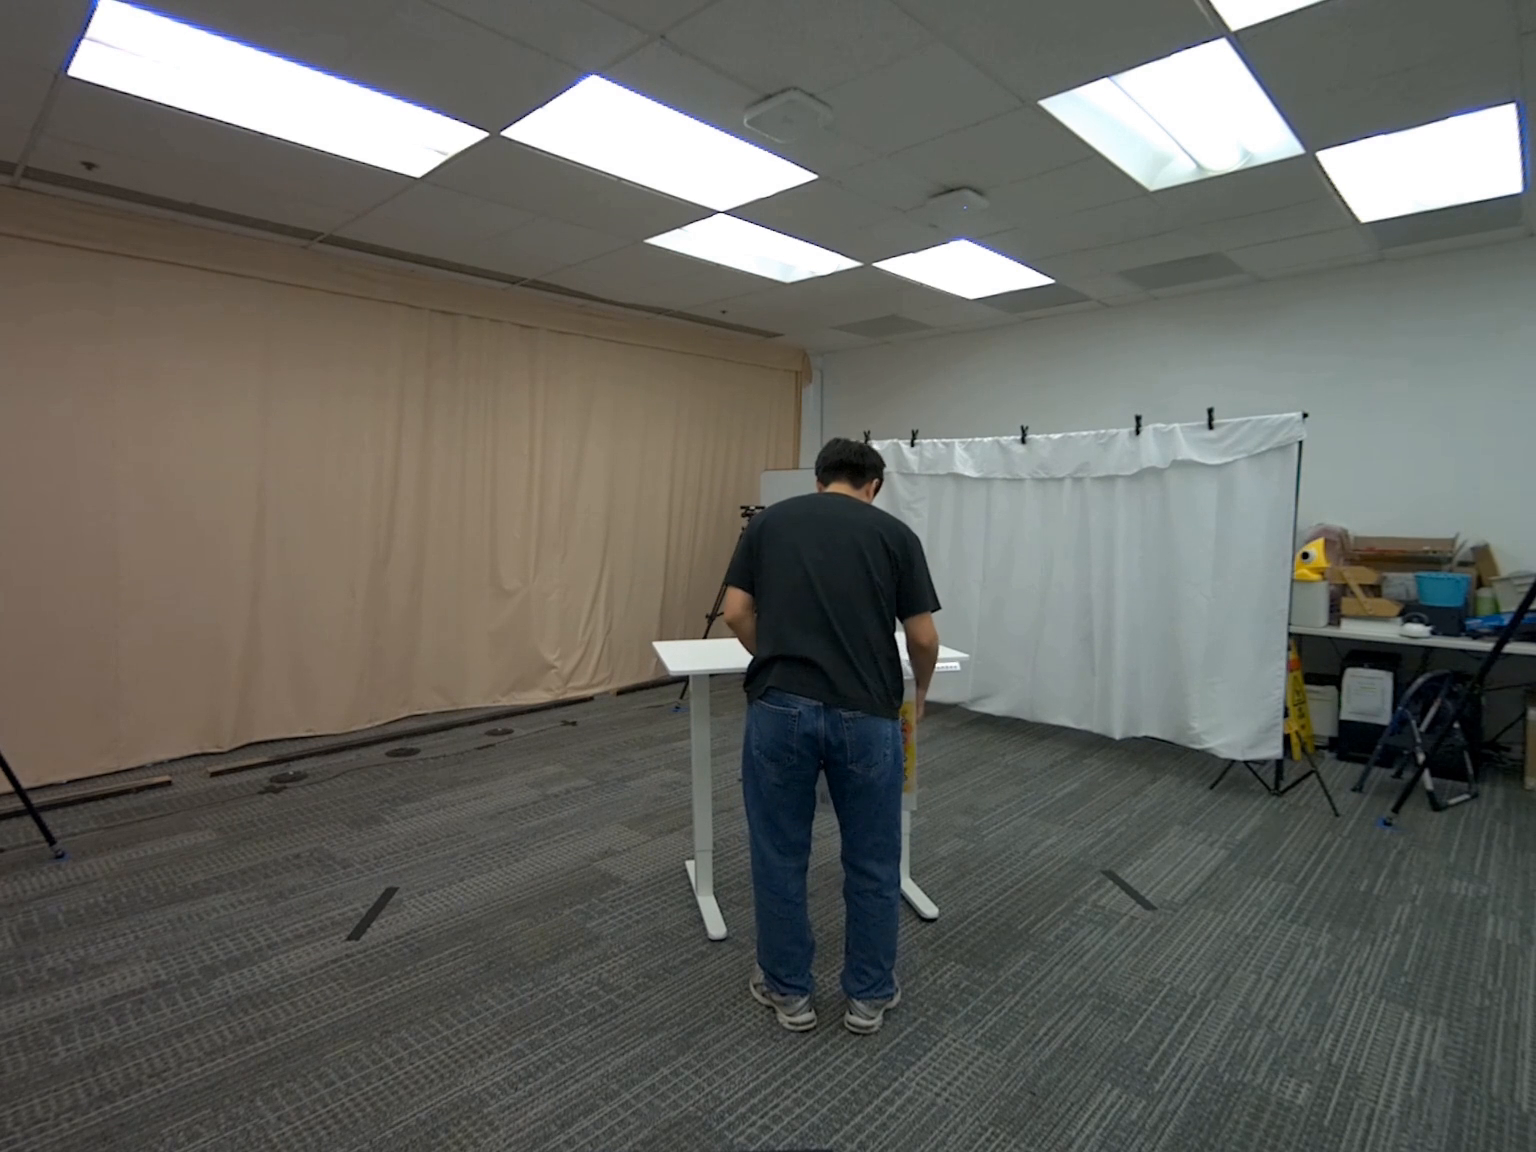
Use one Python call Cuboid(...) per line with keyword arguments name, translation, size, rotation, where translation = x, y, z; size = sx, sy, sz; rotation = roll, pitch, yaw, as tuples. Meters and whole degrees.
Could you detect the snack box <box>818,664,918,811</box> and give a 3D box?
Cuboid(name="snack box", translation=(0.259, 0.473, 2.508), size=(0.342, 0.402, 0.206), rotation=(-1, 10, 4))
